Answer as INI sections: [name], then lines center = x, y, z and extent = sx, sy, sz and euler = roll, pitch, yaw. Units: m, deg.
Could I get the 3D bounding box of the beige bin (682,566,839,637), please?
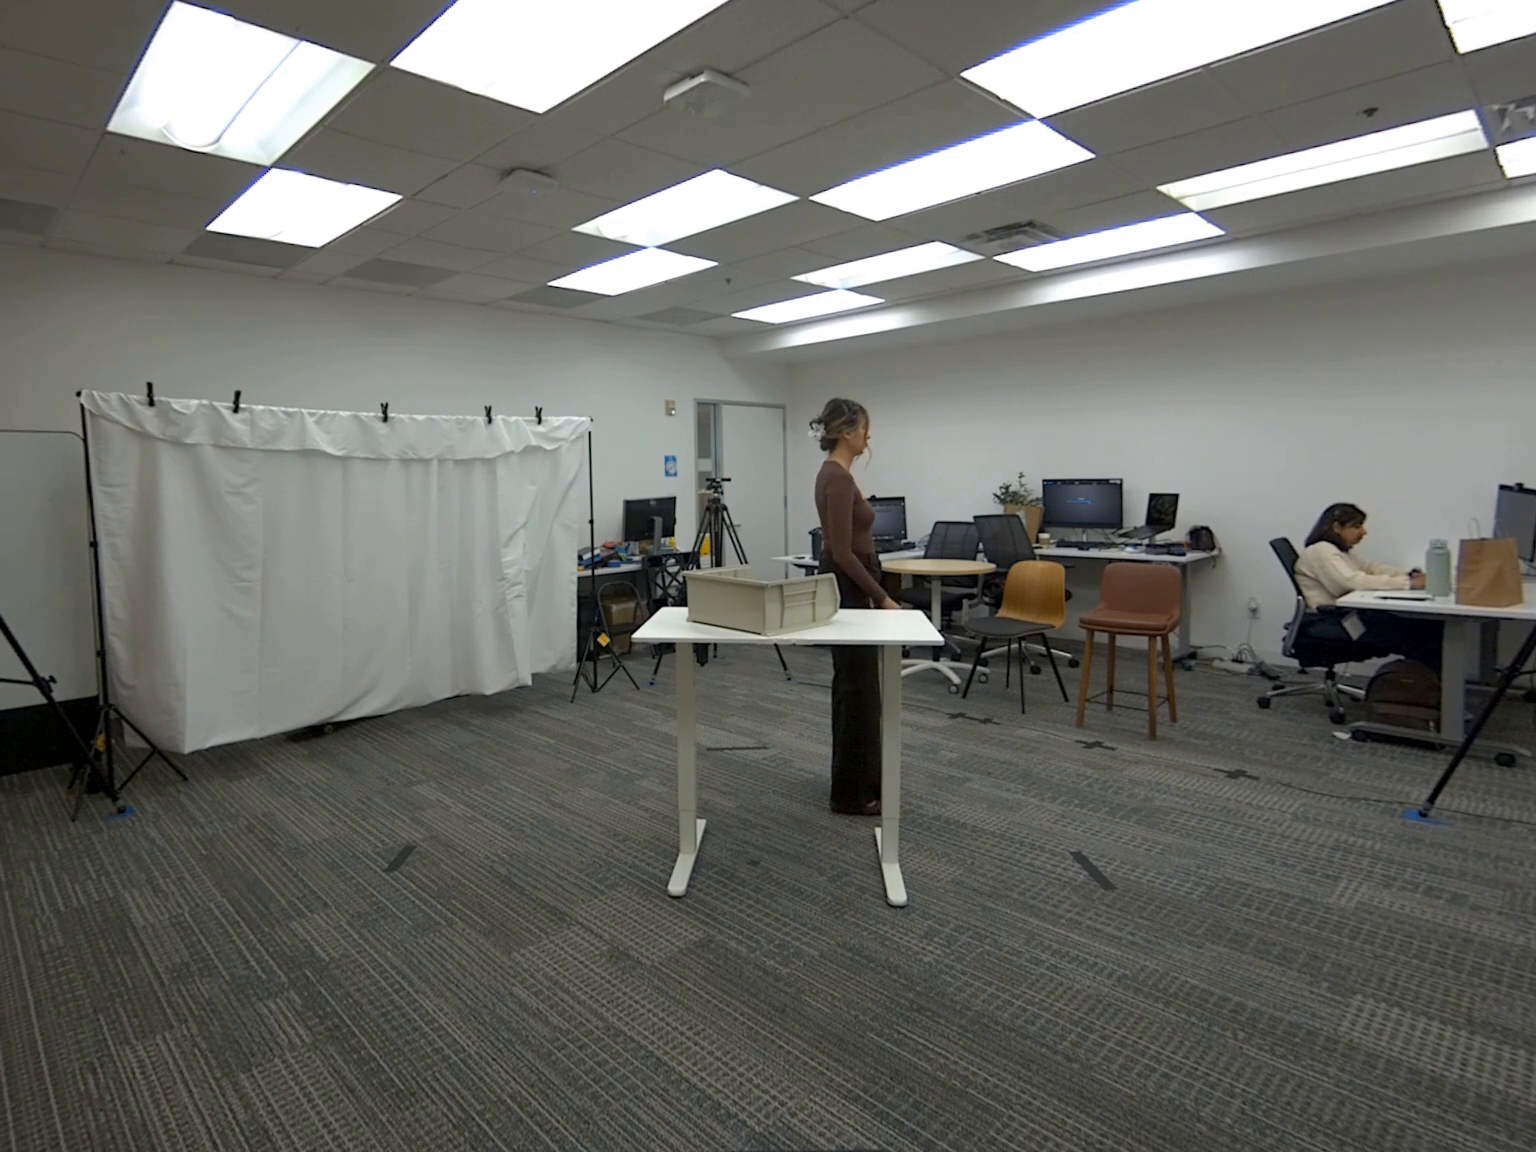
[beige bin]
center = -0.024, 0.077, 3.030
extent = 0.368, 0.188, 0.436
euler = -9, 11, -44
